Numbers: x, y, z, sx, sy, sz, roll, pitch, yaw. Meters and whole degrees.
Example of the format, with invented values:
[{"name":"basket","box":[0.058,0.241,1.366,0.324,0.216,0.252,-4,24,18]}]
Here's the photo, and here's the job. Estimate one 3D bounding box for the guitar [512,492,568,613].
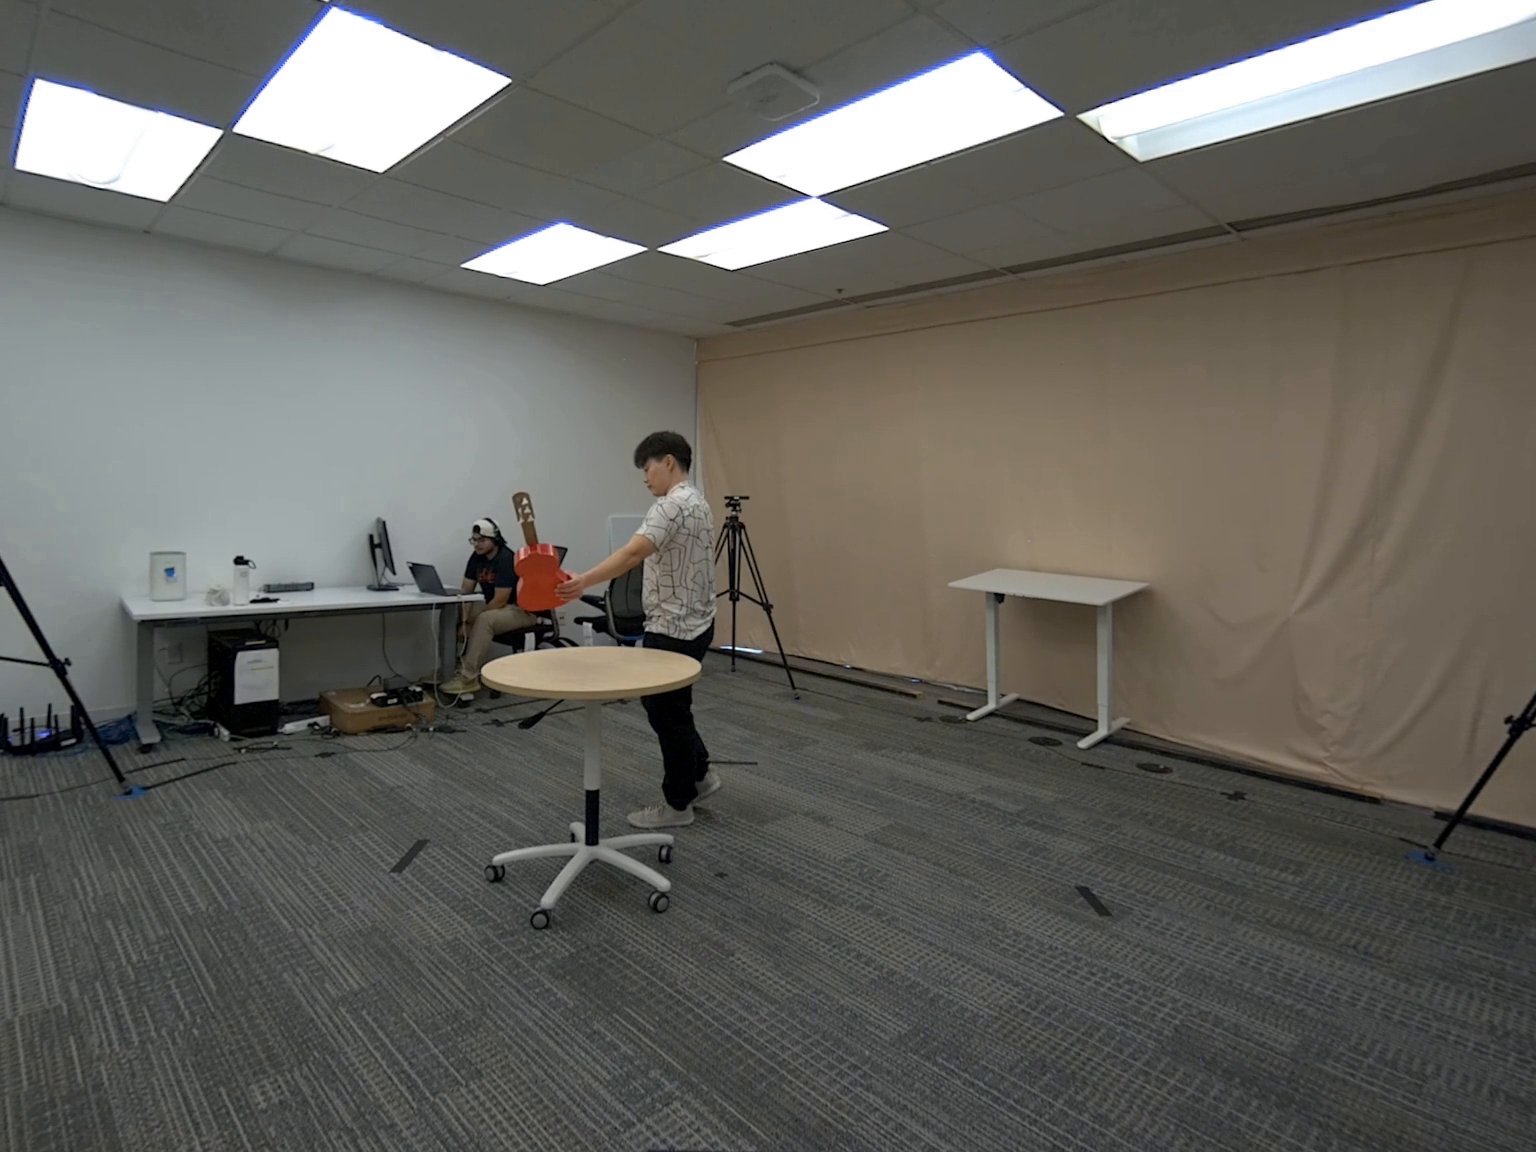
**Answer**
[{"name":"guitar","box":[-0.825,-0.071,2.858,0.192,0.484,0.073,-16,45,-4]}]
